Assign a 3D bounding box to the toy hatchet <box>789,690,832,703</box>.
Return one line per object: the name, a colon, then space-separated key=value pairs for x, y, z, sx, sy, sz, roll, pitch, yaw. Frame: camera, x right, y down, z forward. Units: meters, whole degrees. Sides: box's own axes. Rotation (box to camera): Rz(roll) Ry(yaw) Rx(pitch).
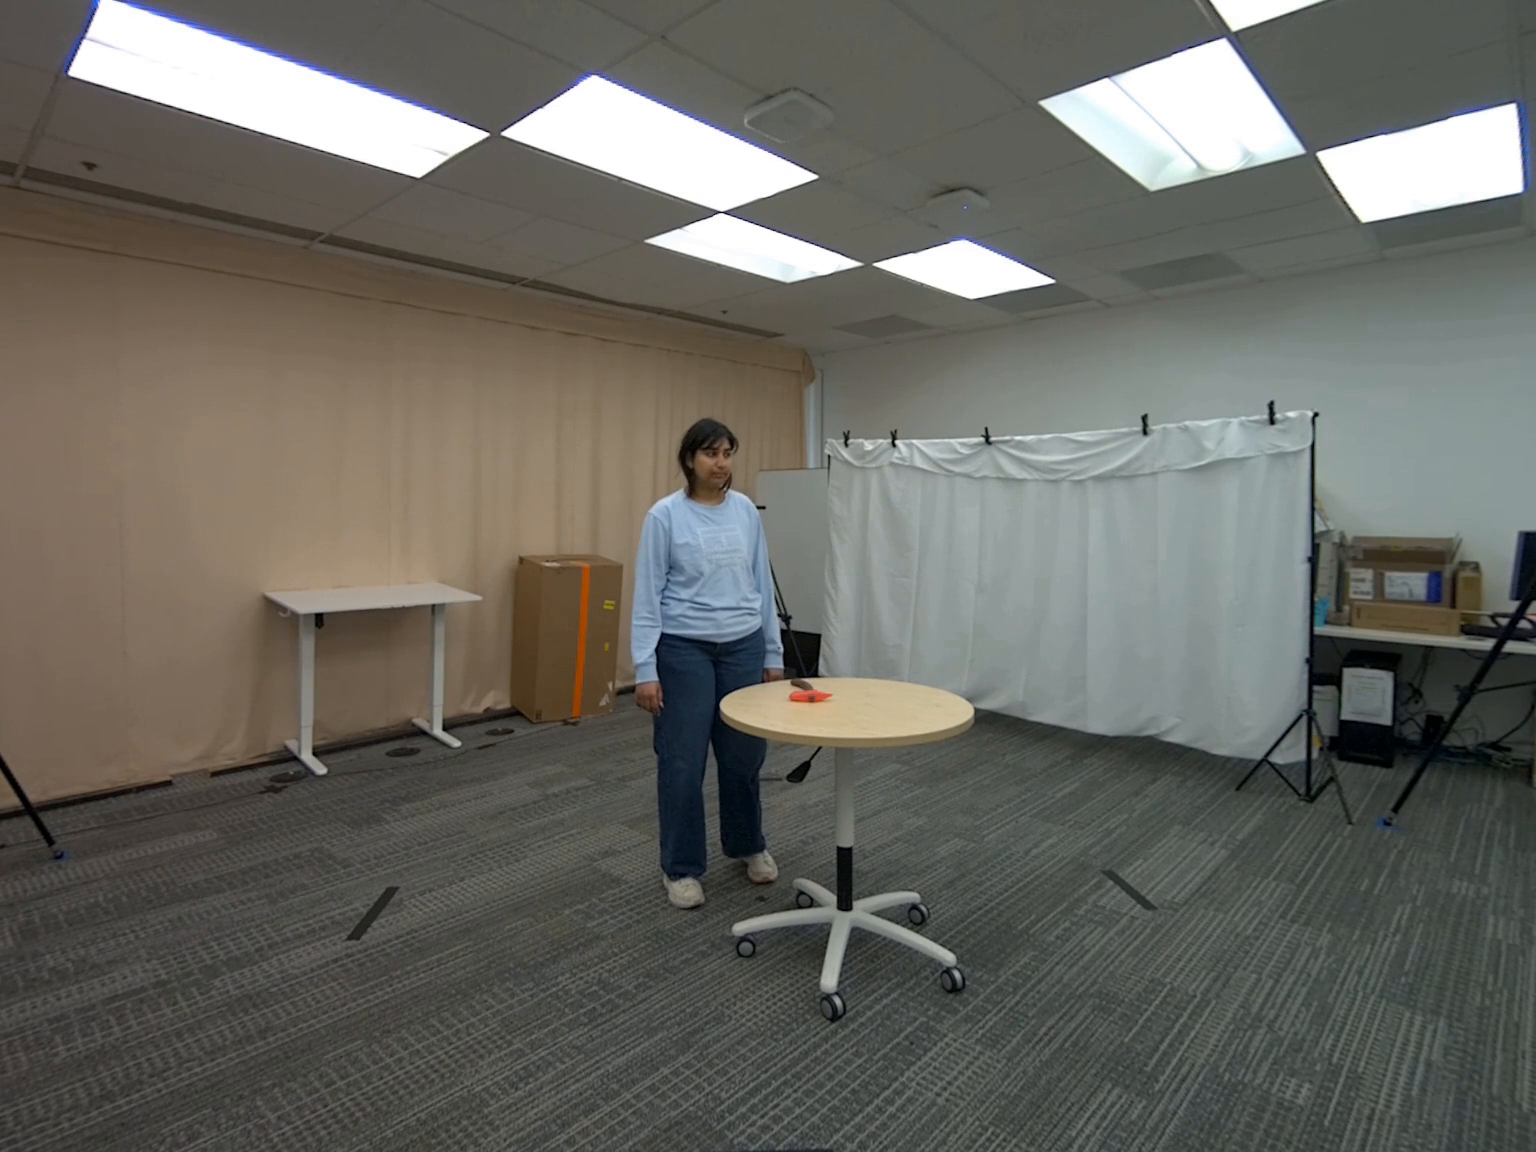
toy hatchet: x=0.101 y=0.372 z=2.721 sx=0.129 sy=0.029 sz=0.275 roll=-7 pitch=5 yaw=-19
